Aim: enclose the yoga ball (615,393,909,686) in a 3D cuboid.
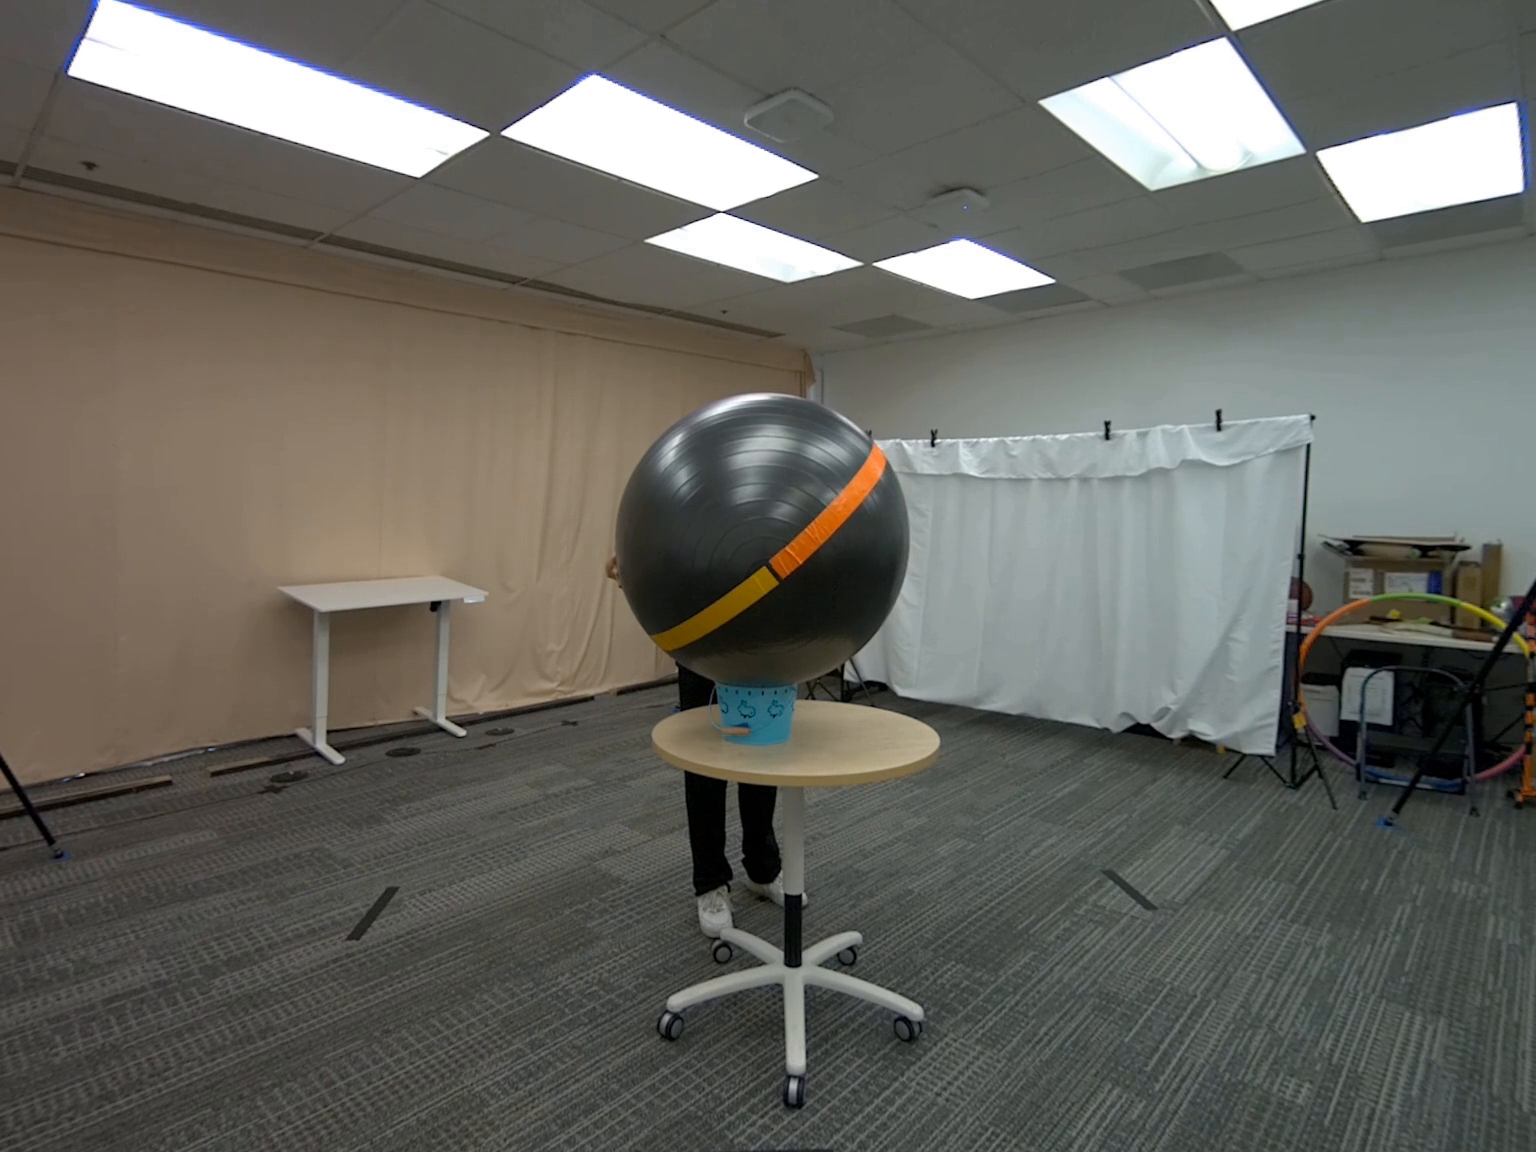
[{"bbox_3d":[-0.015,-0.088,2.185,0.757,0.756,0.760,0,4,-2],"label":"yoga ball"}]
